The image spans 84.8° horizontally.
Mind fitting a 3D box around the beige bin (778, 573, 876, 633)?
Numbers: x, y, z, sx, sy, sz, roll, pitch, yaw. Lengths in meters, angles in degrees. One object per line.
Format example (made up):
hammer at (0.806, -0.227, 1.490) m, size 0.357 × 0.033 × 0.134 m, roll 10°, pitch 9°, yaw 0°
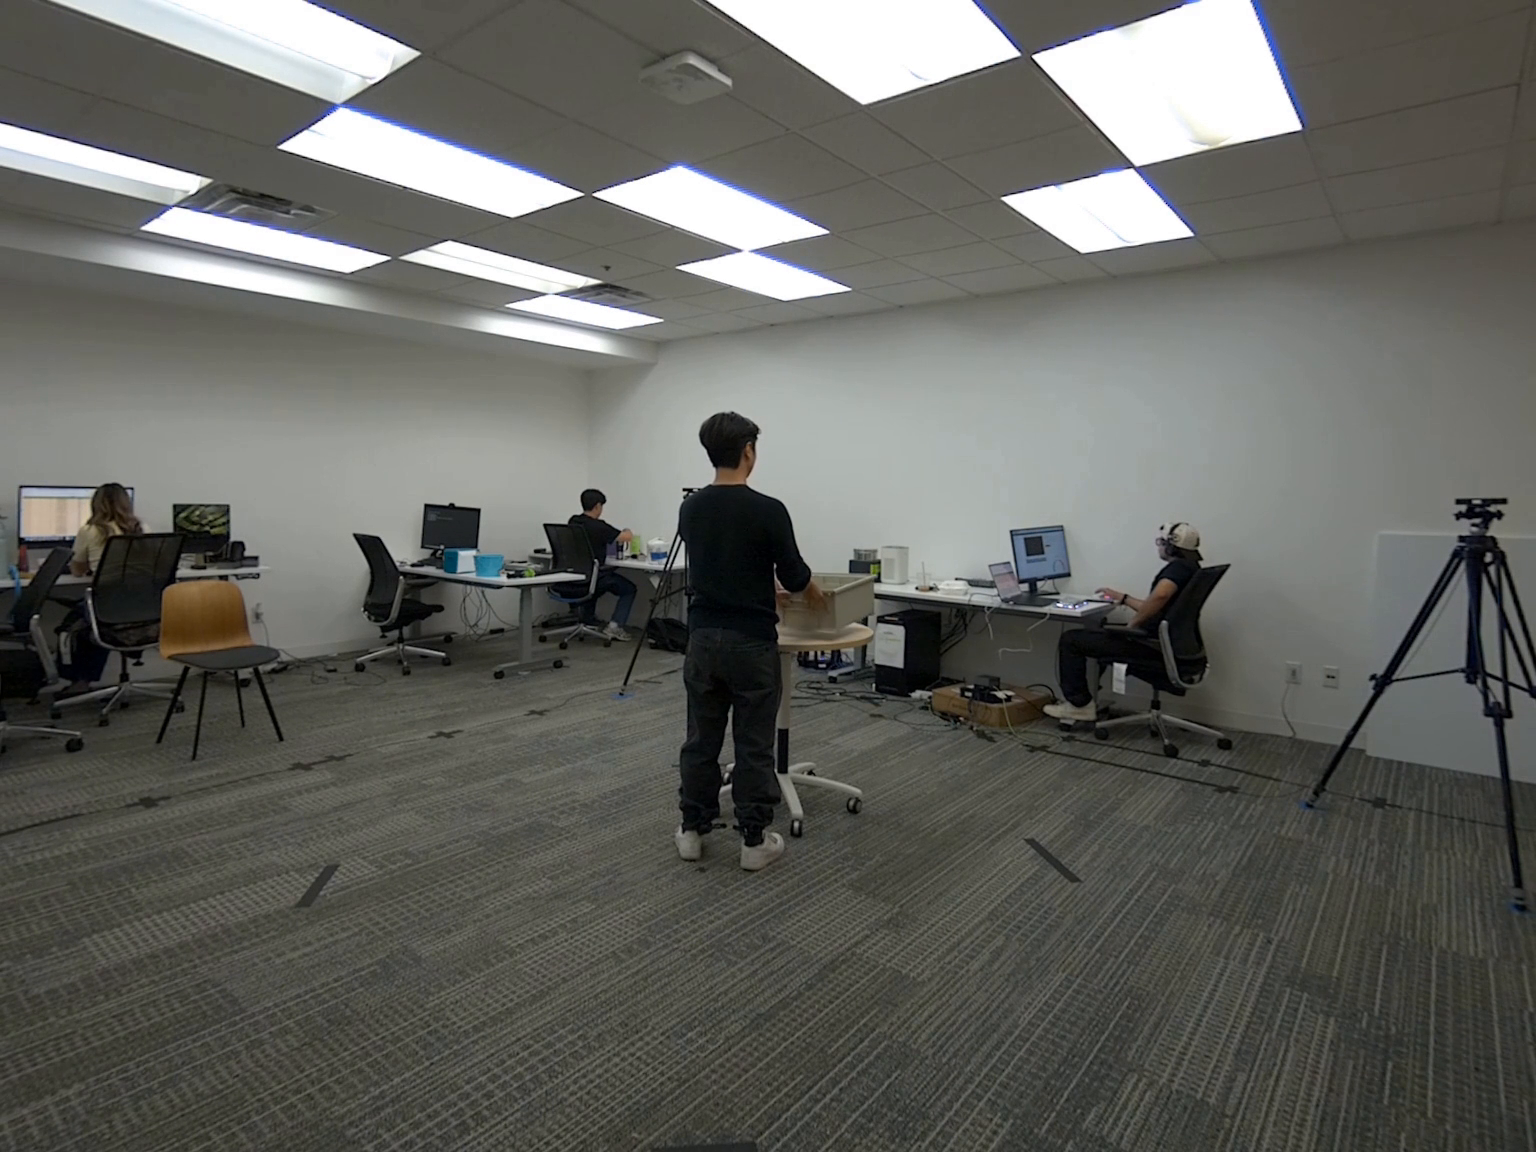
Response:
beige bin at (0.204, 0.105, 3.686) m, size 0.389 × 0.188 × 0.413 m, roll 2°, pitch 9°, yaw 31°
